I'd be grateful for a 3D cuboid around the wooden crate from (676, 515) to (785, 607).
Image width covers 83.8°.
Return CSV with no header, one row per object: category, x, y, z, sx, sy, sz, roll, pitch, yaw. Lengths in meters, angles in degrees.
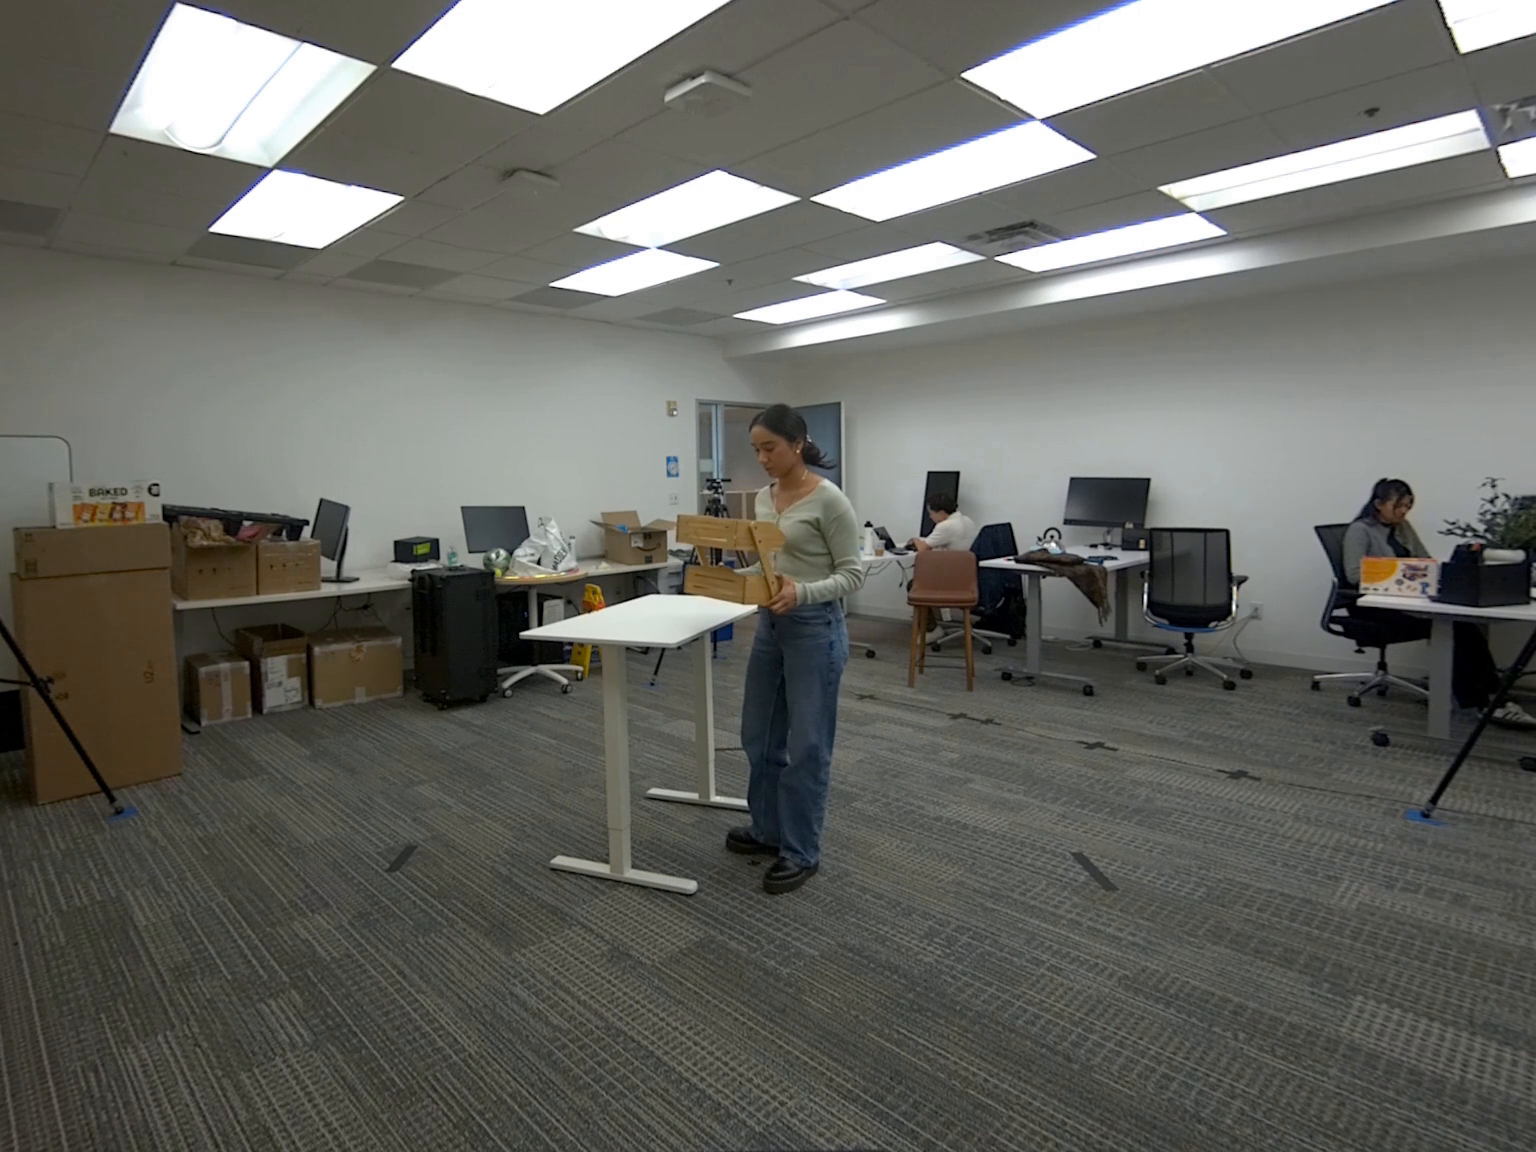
wooden crate,-0.091,-0.060,2.771,0.293,0.273,0.335,1,5,-42
